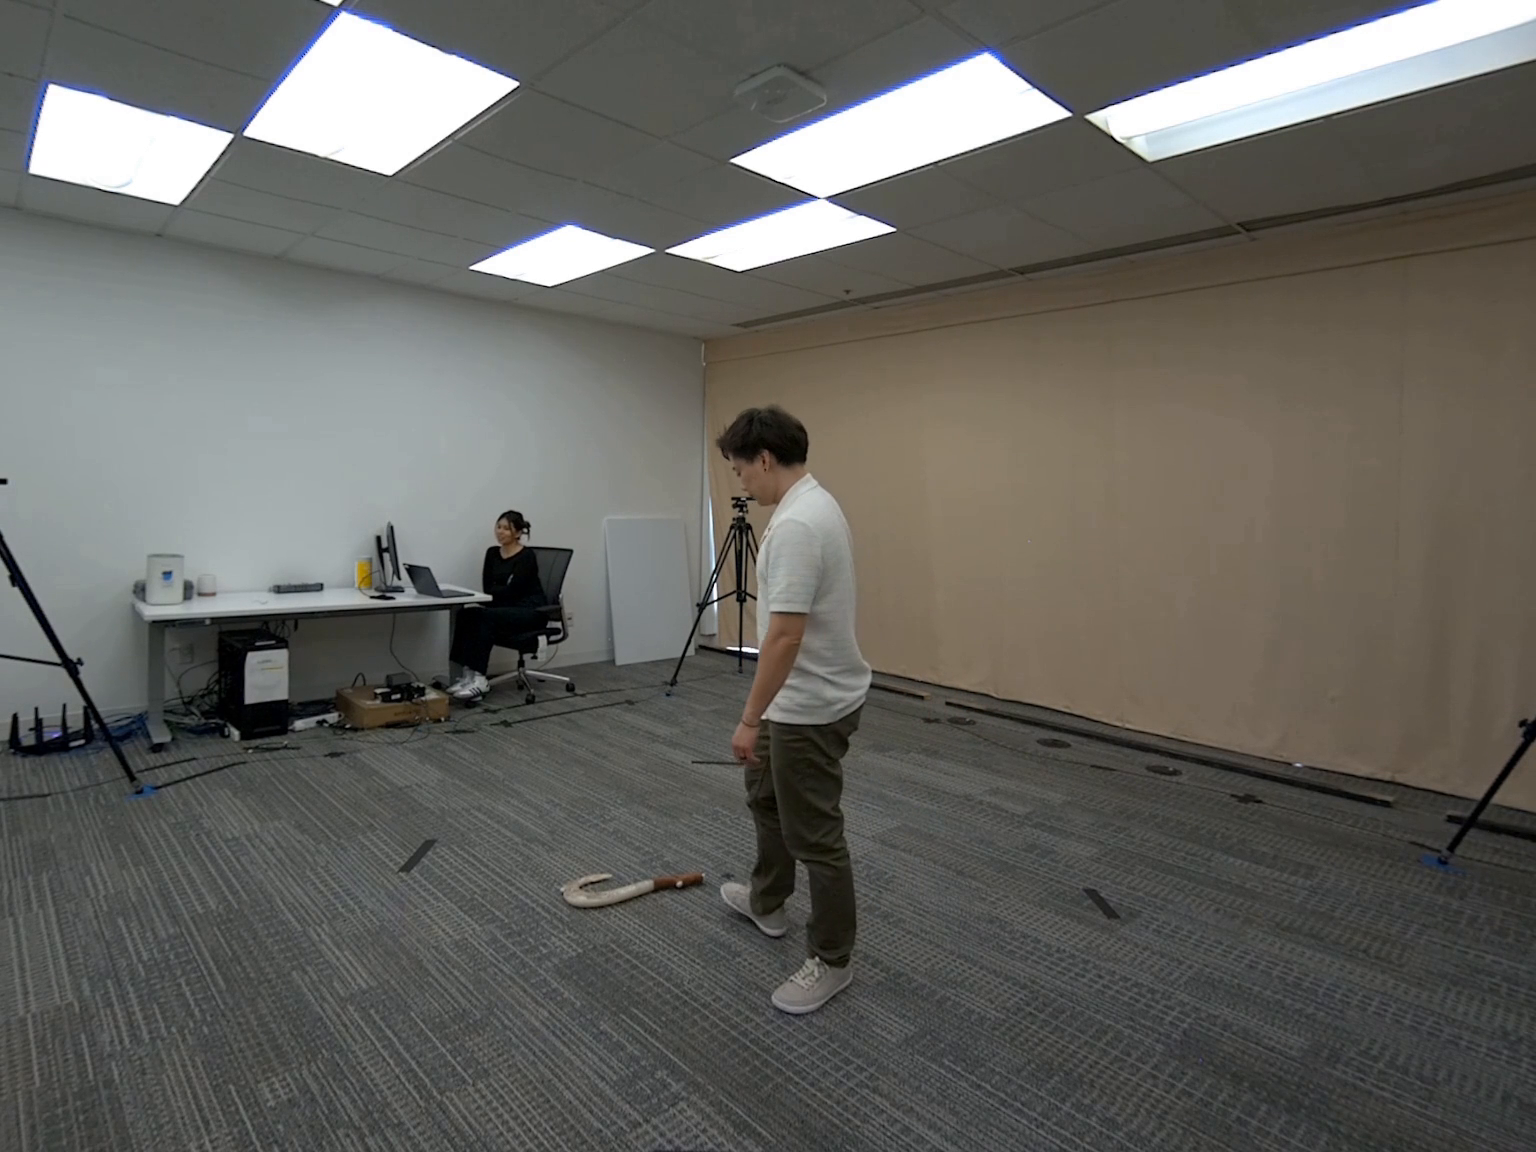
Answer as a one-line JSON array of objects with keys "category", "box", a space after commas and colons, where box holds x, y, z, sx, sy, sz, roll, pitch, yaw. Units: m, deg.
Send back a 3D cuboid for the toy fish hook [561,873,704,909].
[{"category": "toy fish hook", "box": [-0.480, 1.088, 2.987, 0.498, 0.048, 0.229, 0, 6, -24]}]
